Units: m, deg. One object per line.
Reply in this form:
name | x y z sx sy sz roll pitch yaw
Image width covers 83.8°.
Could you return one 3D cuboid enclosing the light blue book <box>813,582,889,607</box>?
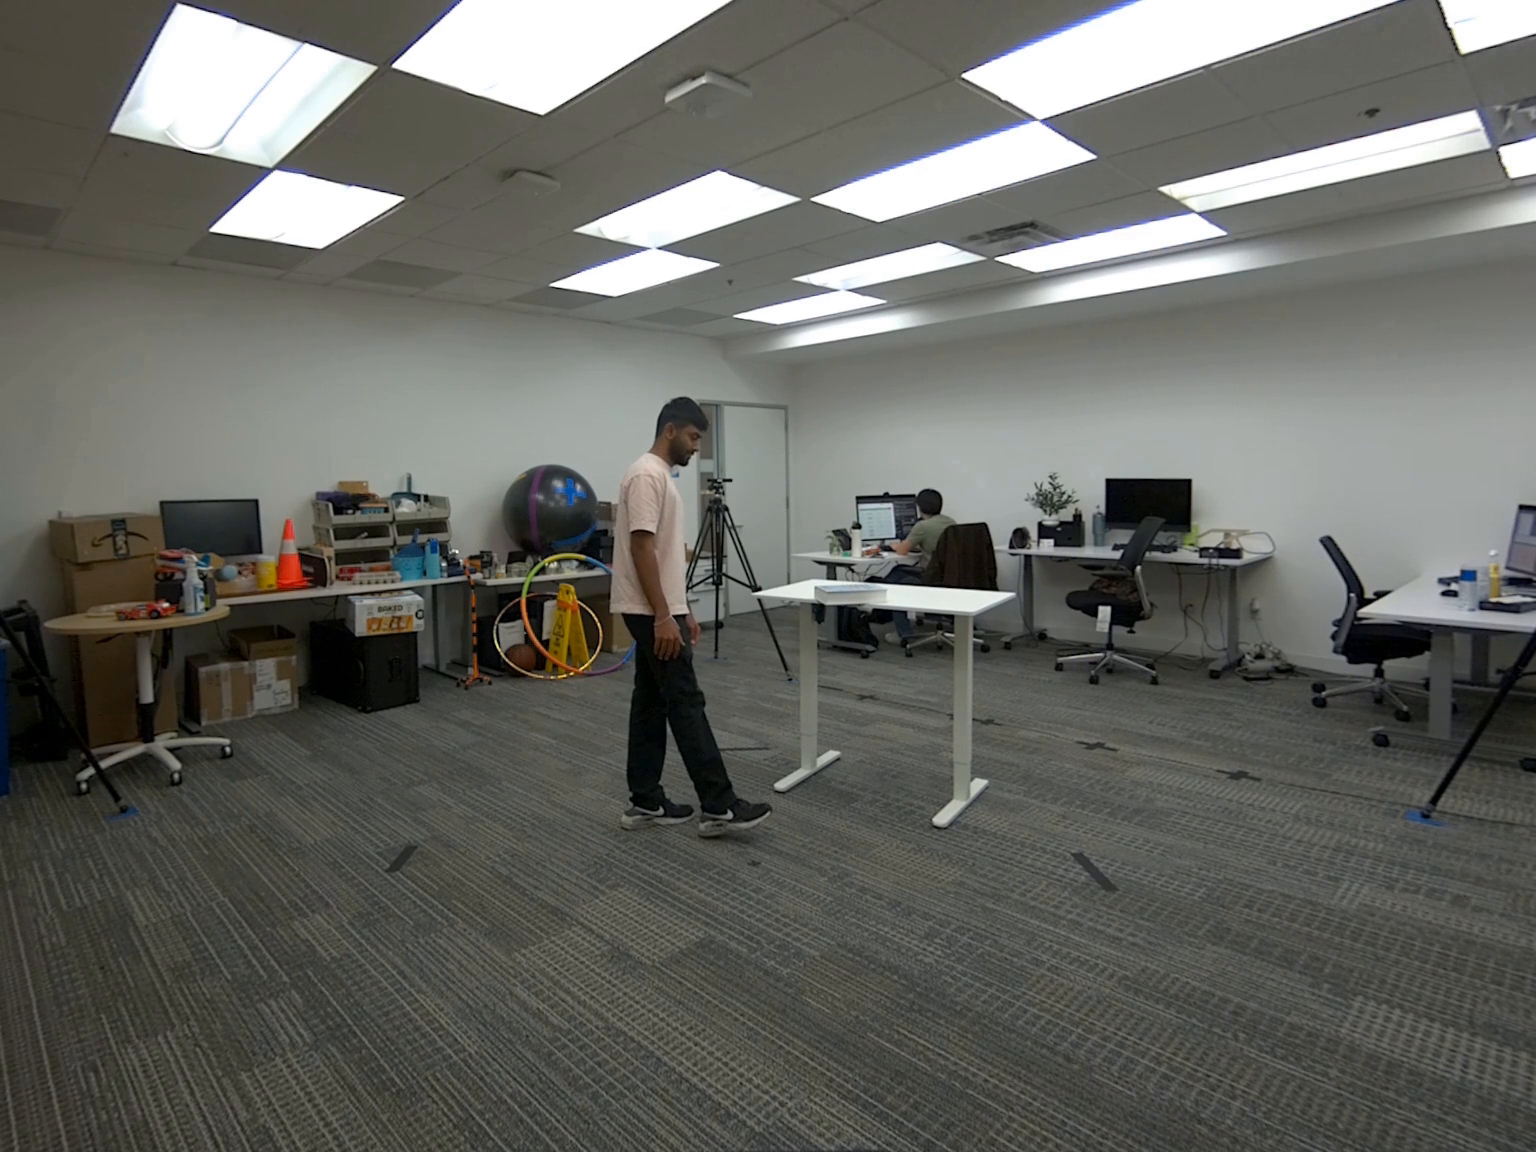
light blue book | 0.346 0.074 3.596 0.258 0.059 0.194 -2 6 -11
